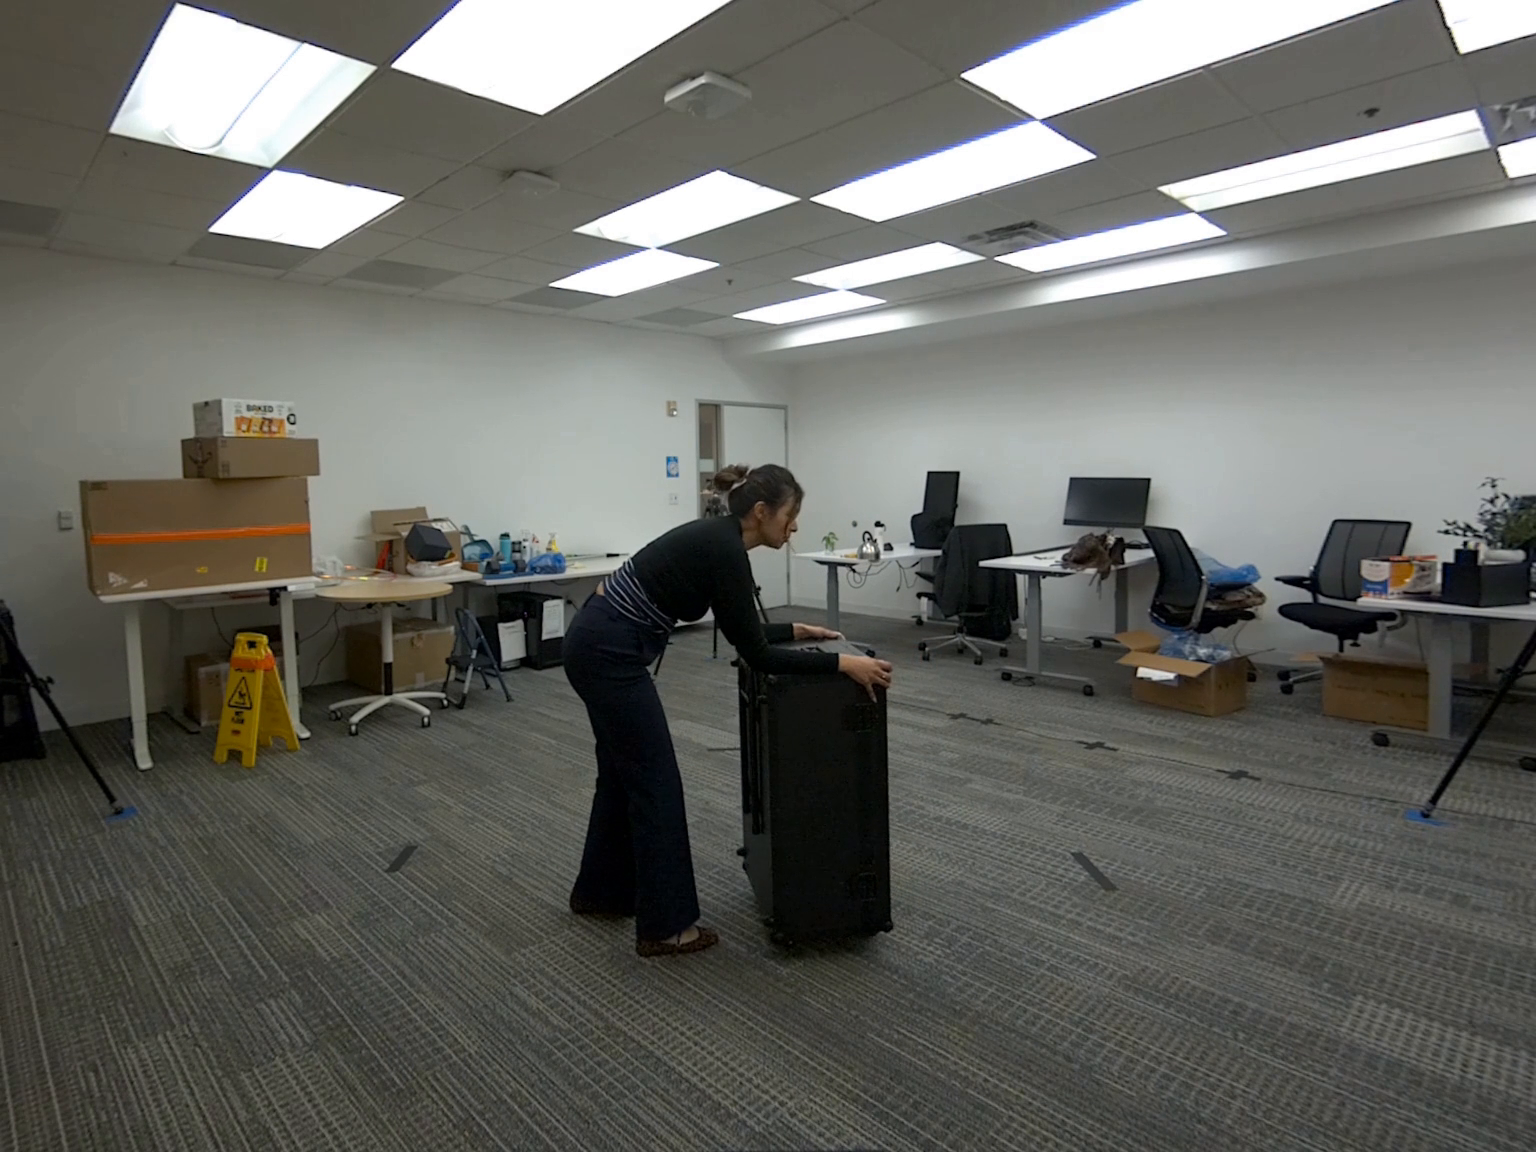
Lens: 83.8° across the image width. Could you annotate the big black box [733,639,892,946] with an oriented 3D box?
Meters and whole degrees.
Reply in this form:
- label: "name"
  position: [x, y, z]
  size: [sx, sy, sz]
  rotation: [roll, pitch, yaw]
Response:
- label: "big black box"
  position: [0.125, 0.670, 2.670]
  size: [0.392, 0.857, 0.529]
  rotation: [-4, 6, -11]
